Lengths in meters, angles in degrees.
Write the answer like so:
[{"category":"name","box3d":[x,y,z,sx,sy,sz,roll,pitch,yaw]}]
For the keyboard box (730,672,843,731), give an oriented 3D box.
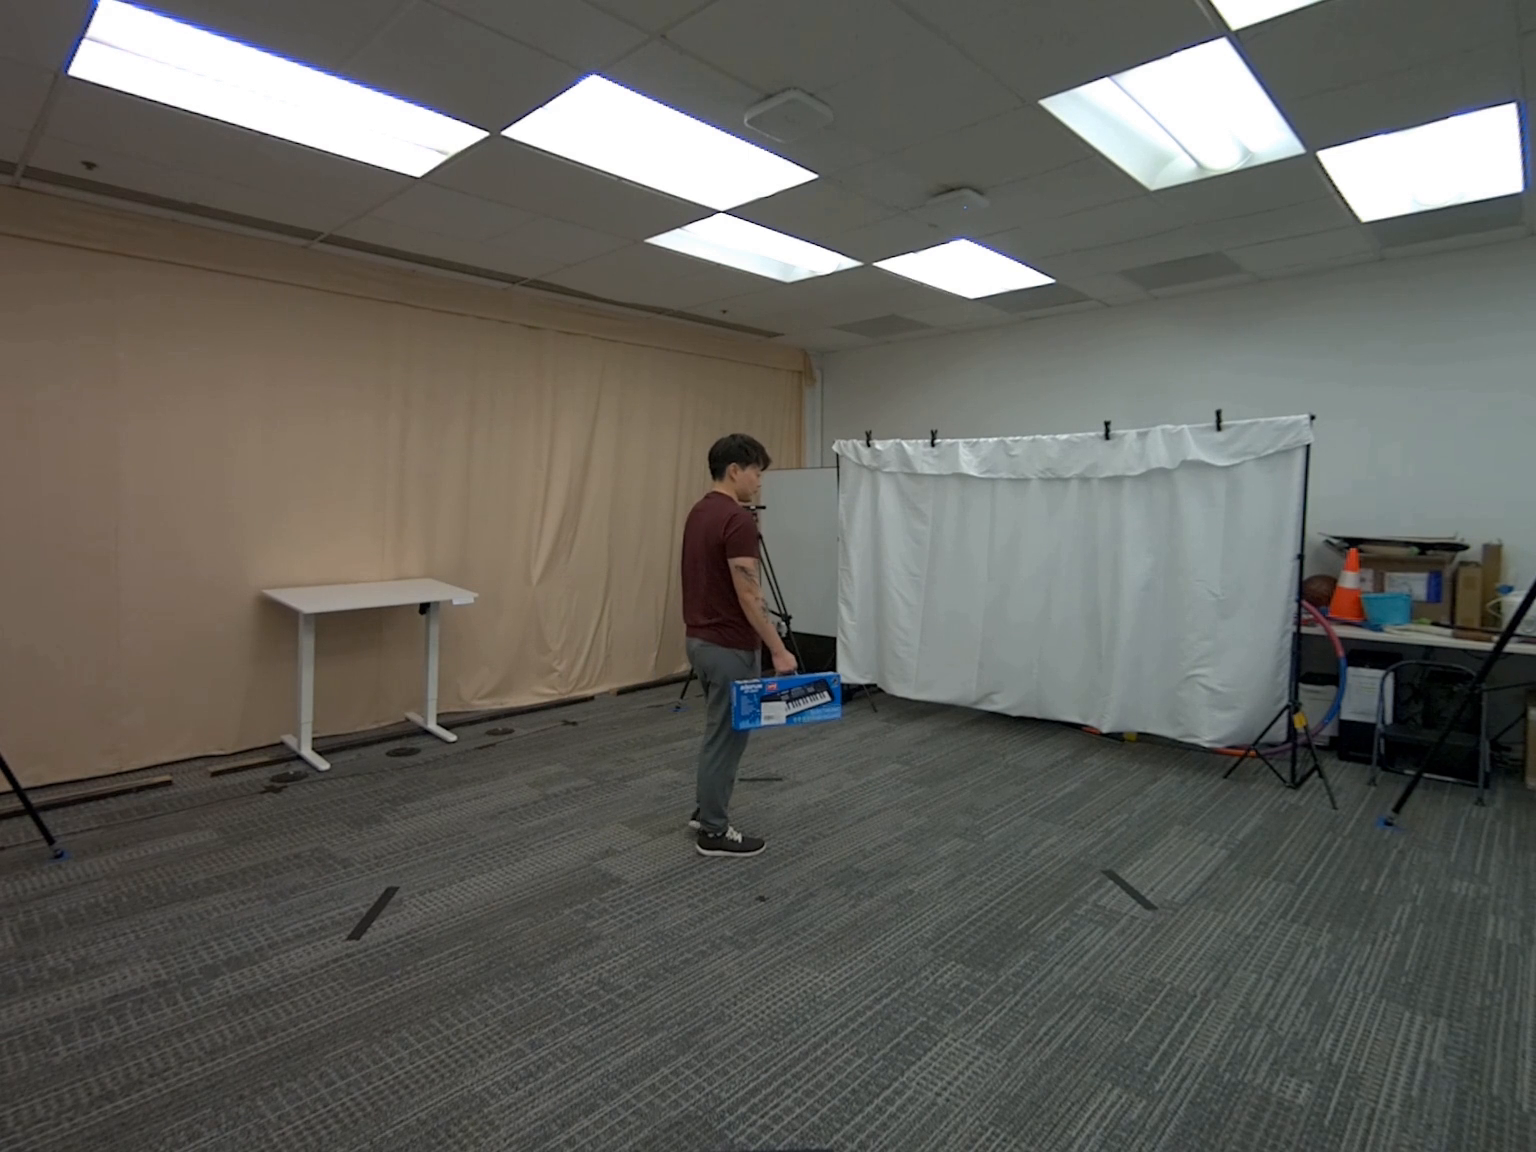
[{"category":"keyboard box","box3d":[0.071,0.471,3.184,0.427,0.176,0.060,-3,2,-23]}]
